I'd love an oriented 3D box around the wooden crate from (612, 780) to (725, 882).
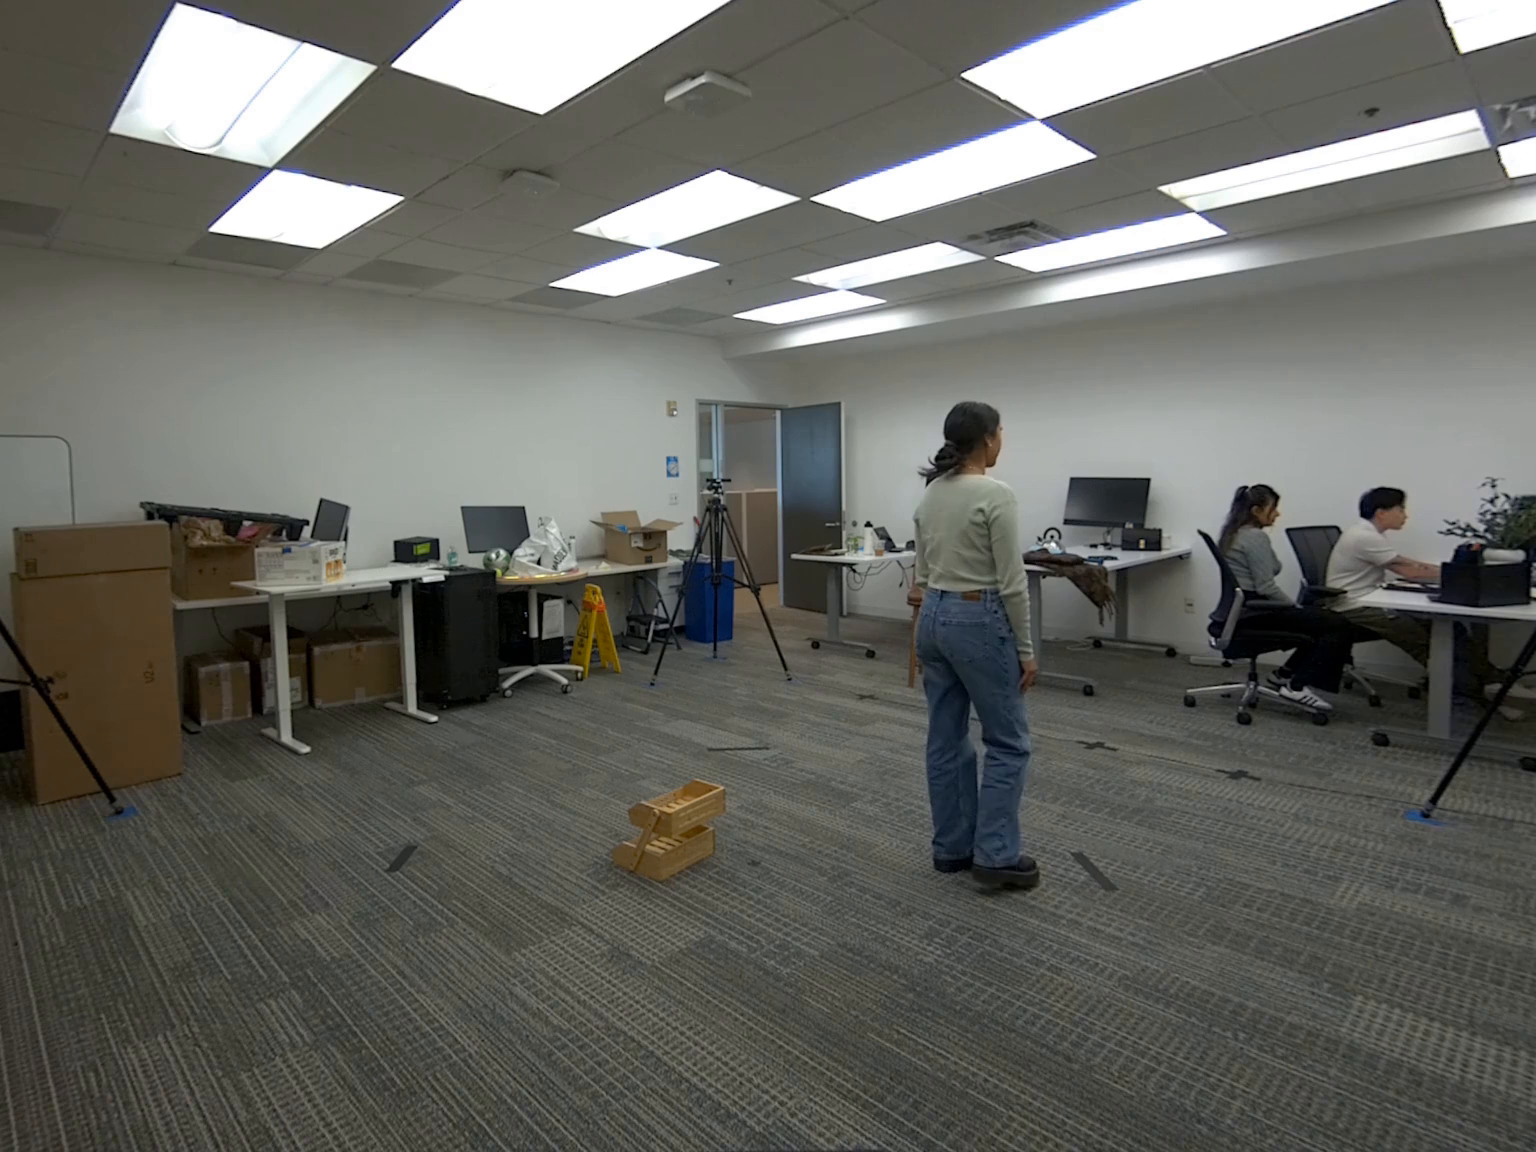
[{"bbox_3d":[-0.362,0.909,3.141,0.311,0.272,0.316,4,7,37],"label":"wooden crate"}]
